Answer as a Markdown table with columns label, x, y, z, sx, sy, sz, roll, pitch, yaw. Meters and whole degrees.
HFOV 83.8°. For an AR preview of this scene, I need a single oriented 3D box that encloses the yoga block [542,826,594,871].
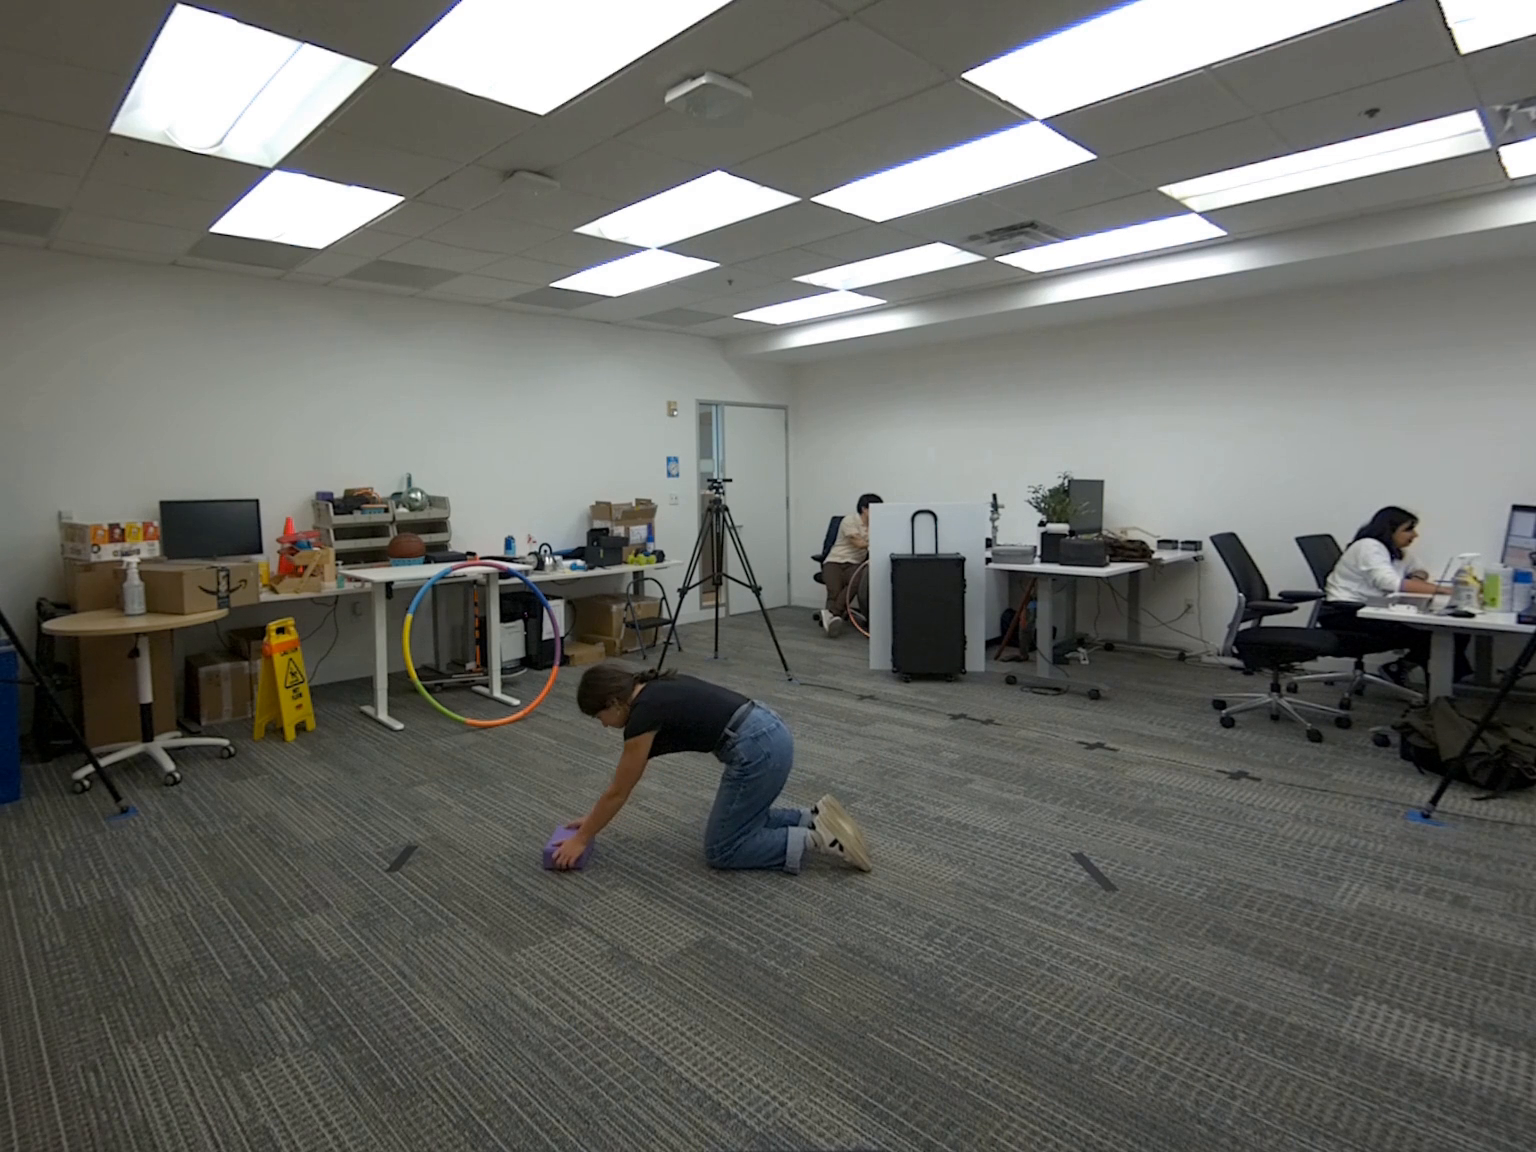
| label | x | y | z | sx | sy | sz | roll | pitch | yaw |
| --- | --- | --- | --- | --- | --- | --- | --- | --- | --- |
| yoga block | -0.734 | 1.008 | 3.195 | 0.149 | 0.076 | 0.230 | 0 | 6 | 0 |
